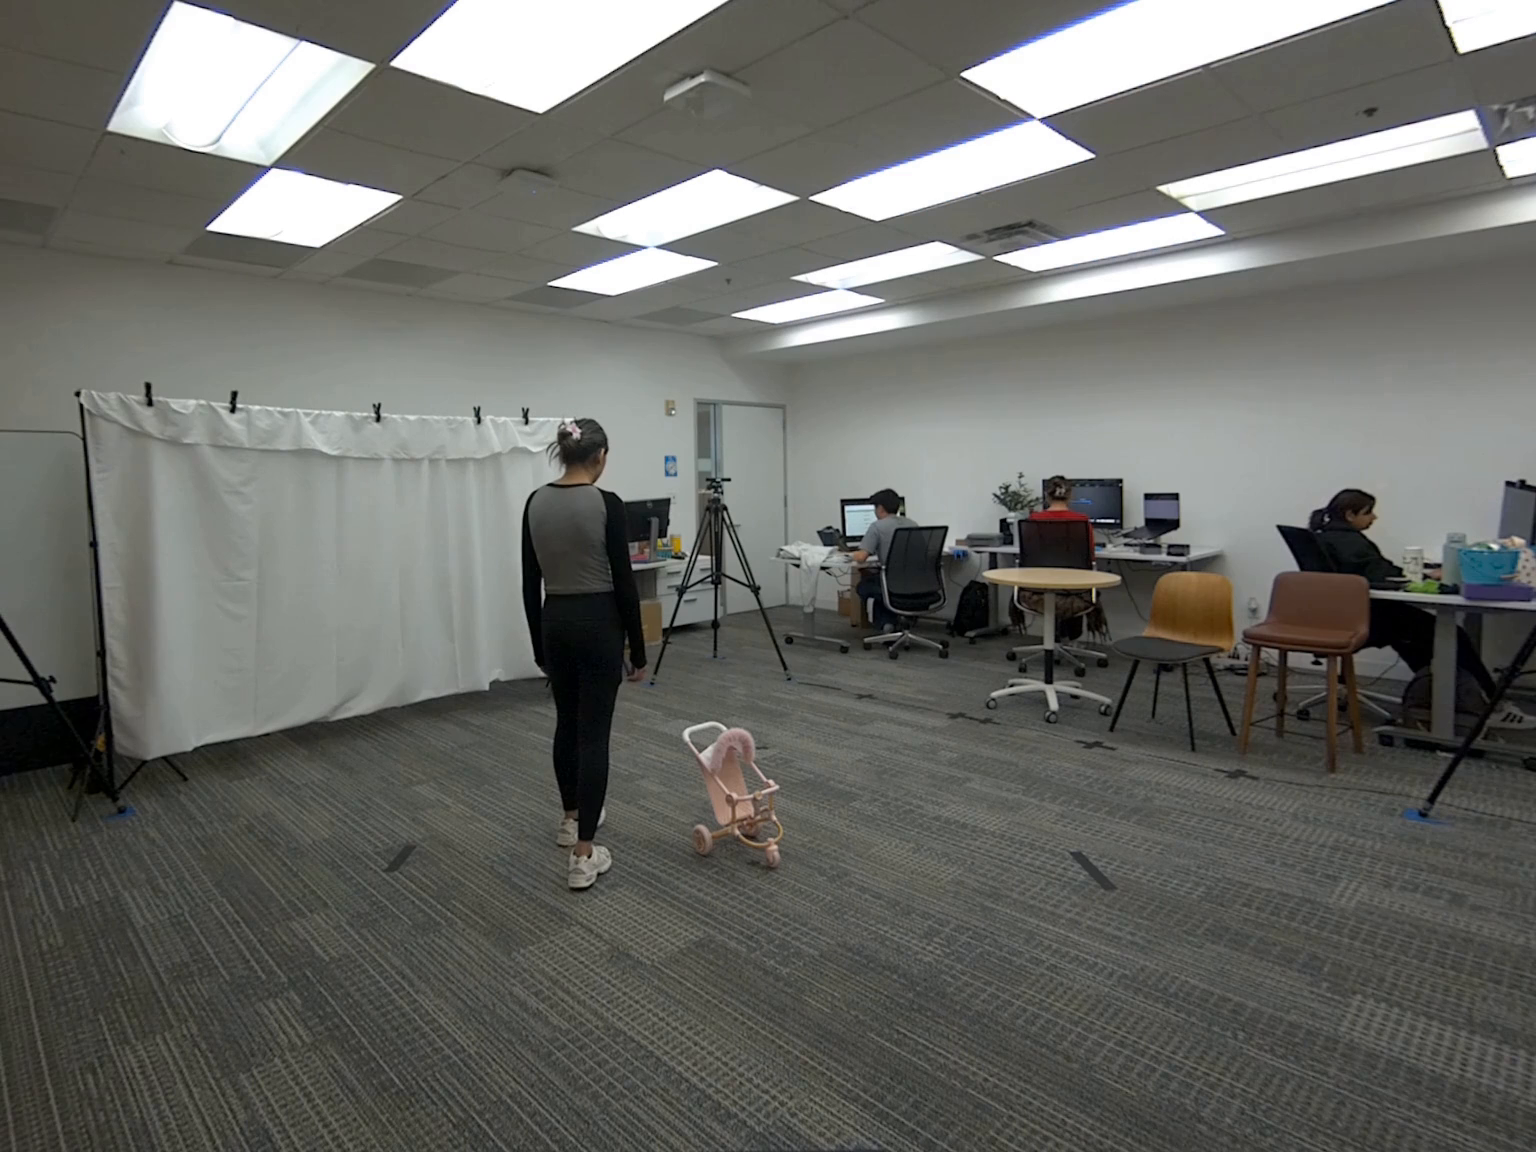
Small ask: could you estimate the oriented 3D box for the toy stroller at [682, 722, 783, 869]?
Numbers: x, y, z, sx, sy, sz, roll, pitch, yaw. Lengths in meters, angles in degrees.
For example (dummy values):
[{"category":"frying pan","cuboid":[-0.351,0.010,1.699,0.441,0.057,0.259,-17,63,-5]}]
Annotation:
[{"category":"toy stroller","cuboid":[-0.116,0.807,3.200,0.274,0.541,0.347,-4,-11,-37]}]
